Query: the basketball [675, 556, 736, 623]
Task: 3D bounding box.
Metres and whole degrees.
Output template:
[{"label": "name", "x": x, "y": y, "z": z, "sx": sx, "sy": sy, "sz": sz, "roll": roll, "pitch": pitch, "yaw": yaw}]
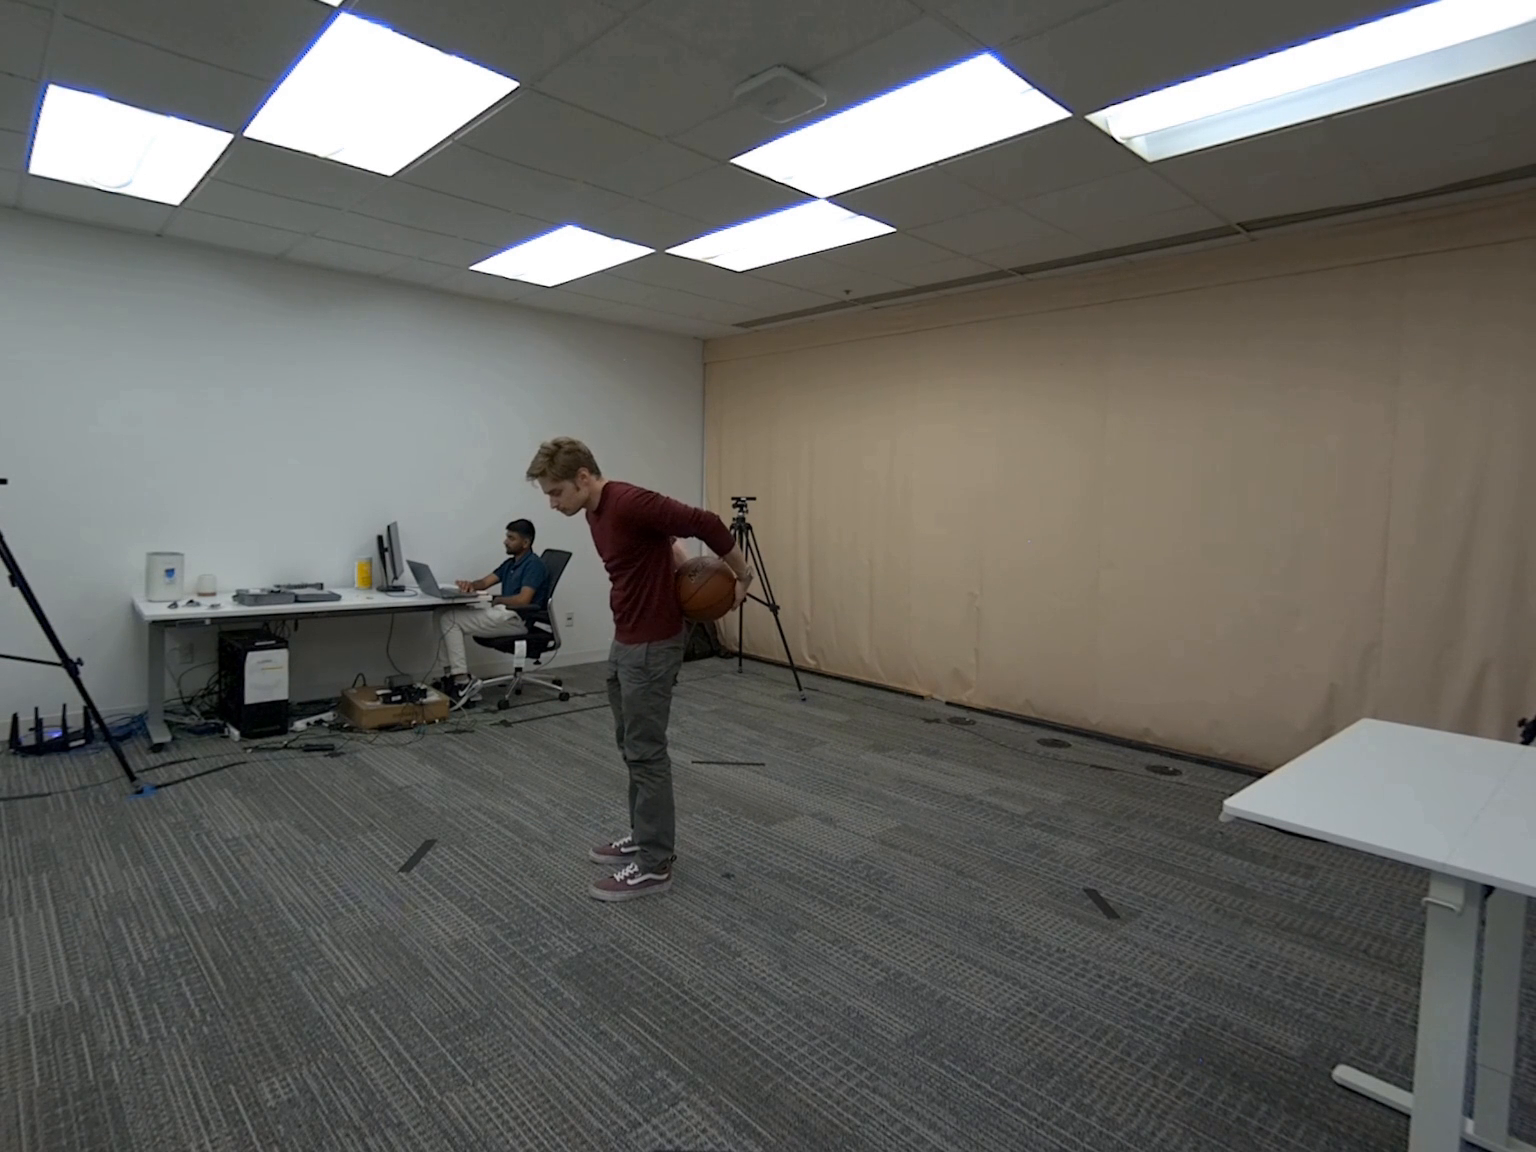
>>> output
[{"label": "basketball", "x": -0.252, "y": 0.047, "z": 3.035, "sx": 0.236, "sy": 0.235, "sz": 0.237, "roll": 1, "pitch": 4, "yaw": -1}]
